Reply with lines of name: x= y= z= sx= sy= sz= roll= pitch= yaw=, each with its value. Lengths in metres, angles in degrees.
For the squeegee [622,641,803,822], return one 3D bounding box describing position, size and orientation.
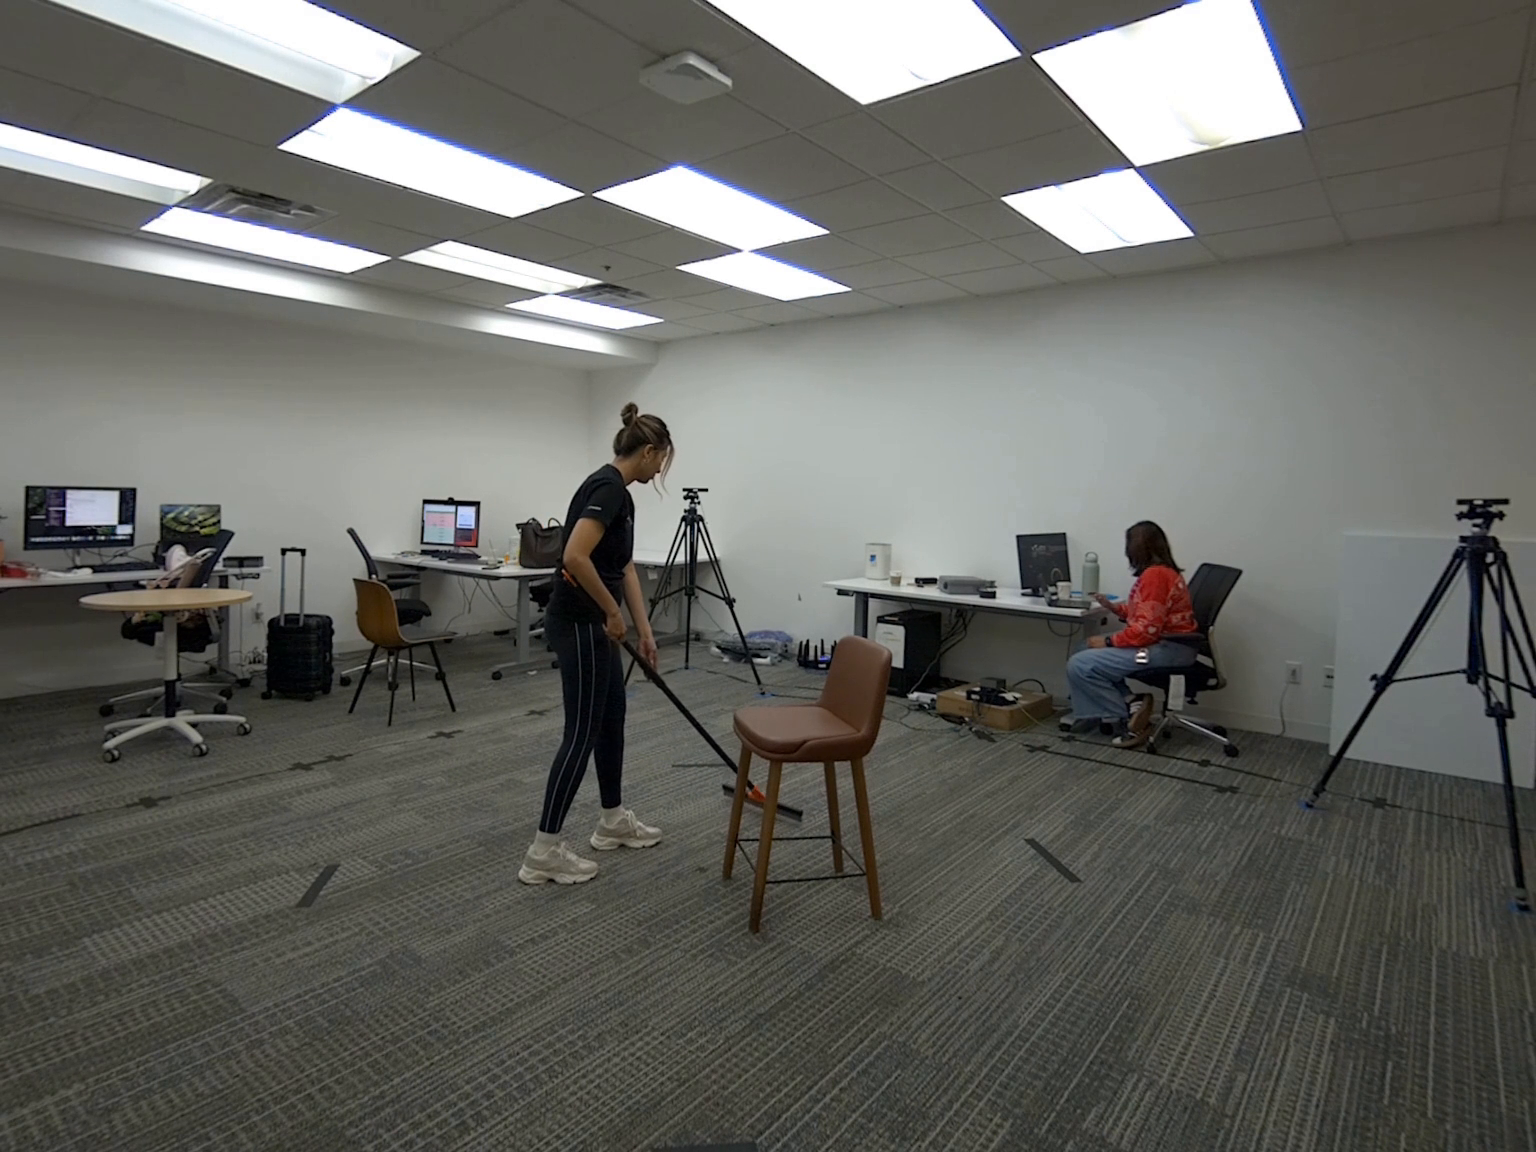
squeegee: x=-0.358 y=0.458 z=3.238 sx=0.452 sy=0.053 sz=1.478 roll=6 pitch=-39 yaw=41
